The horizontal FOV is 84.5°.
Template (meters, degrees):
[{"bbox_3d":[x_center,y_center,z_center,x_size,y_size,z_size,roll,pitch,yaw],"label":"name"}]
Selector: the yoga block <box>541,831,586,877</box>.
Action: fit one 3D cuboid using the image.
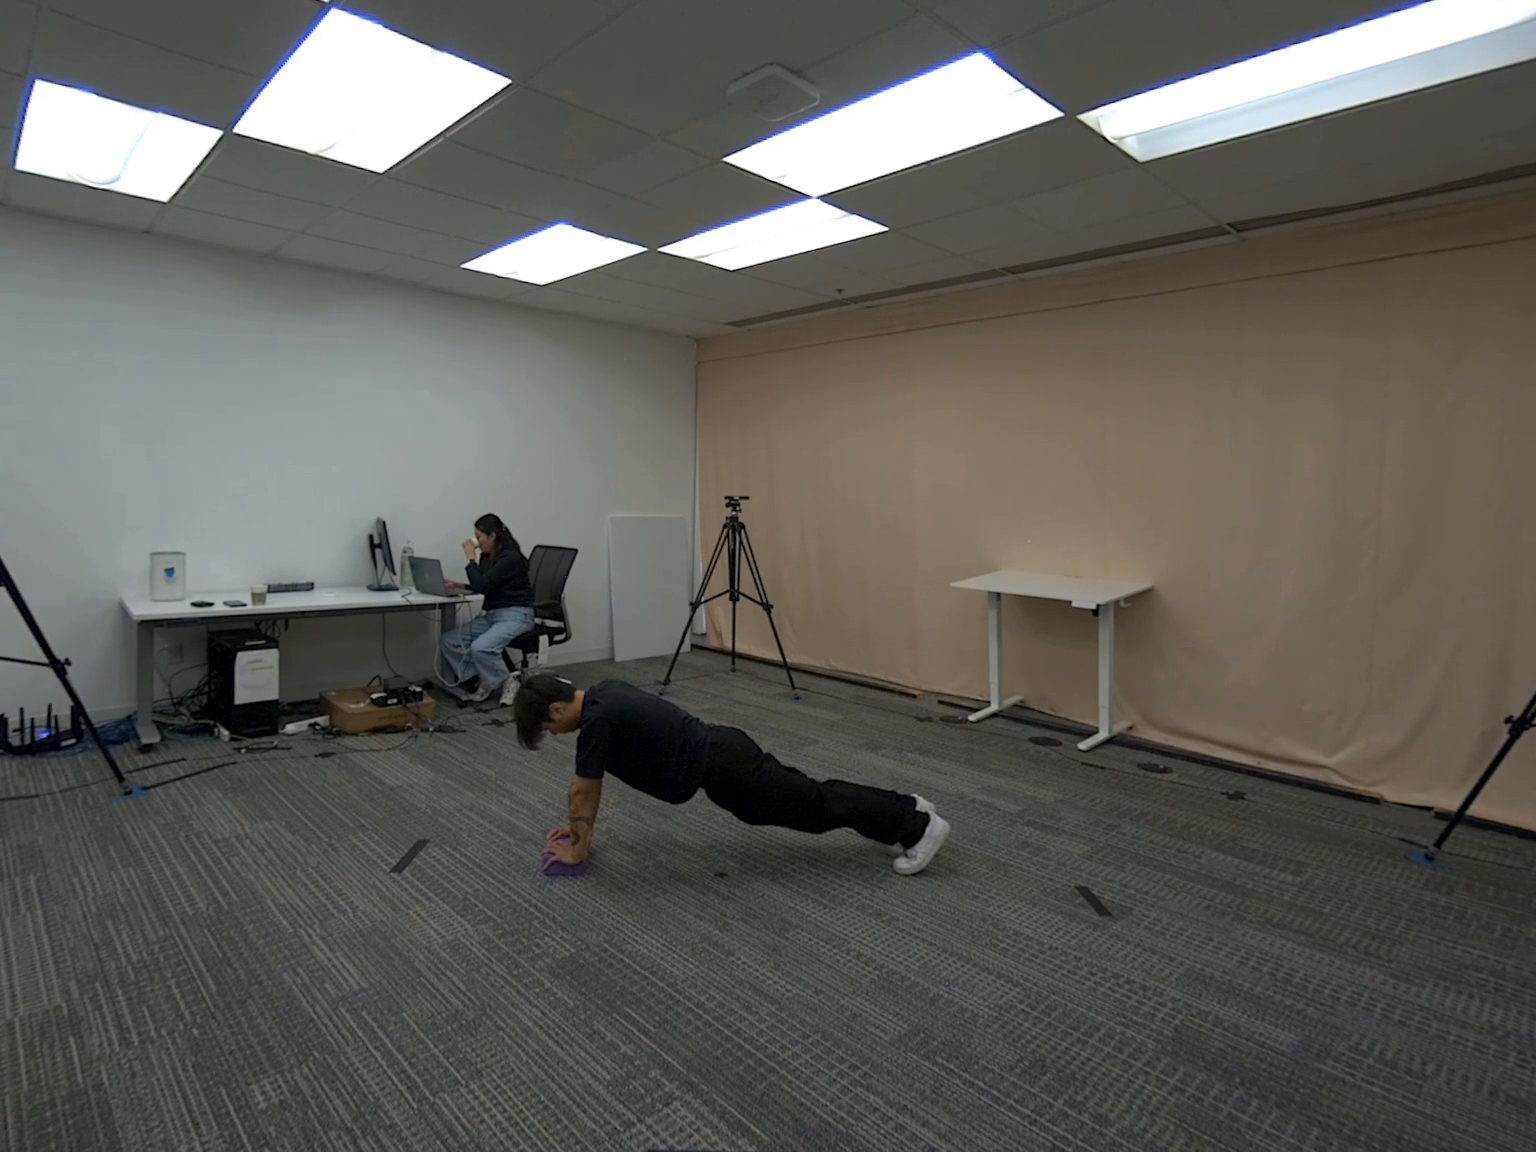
[{"bbox_3d":[-0.762,1.042,3.179,0.148,0.076,0.231,1,6,-7],"label":"yoga block"}]
